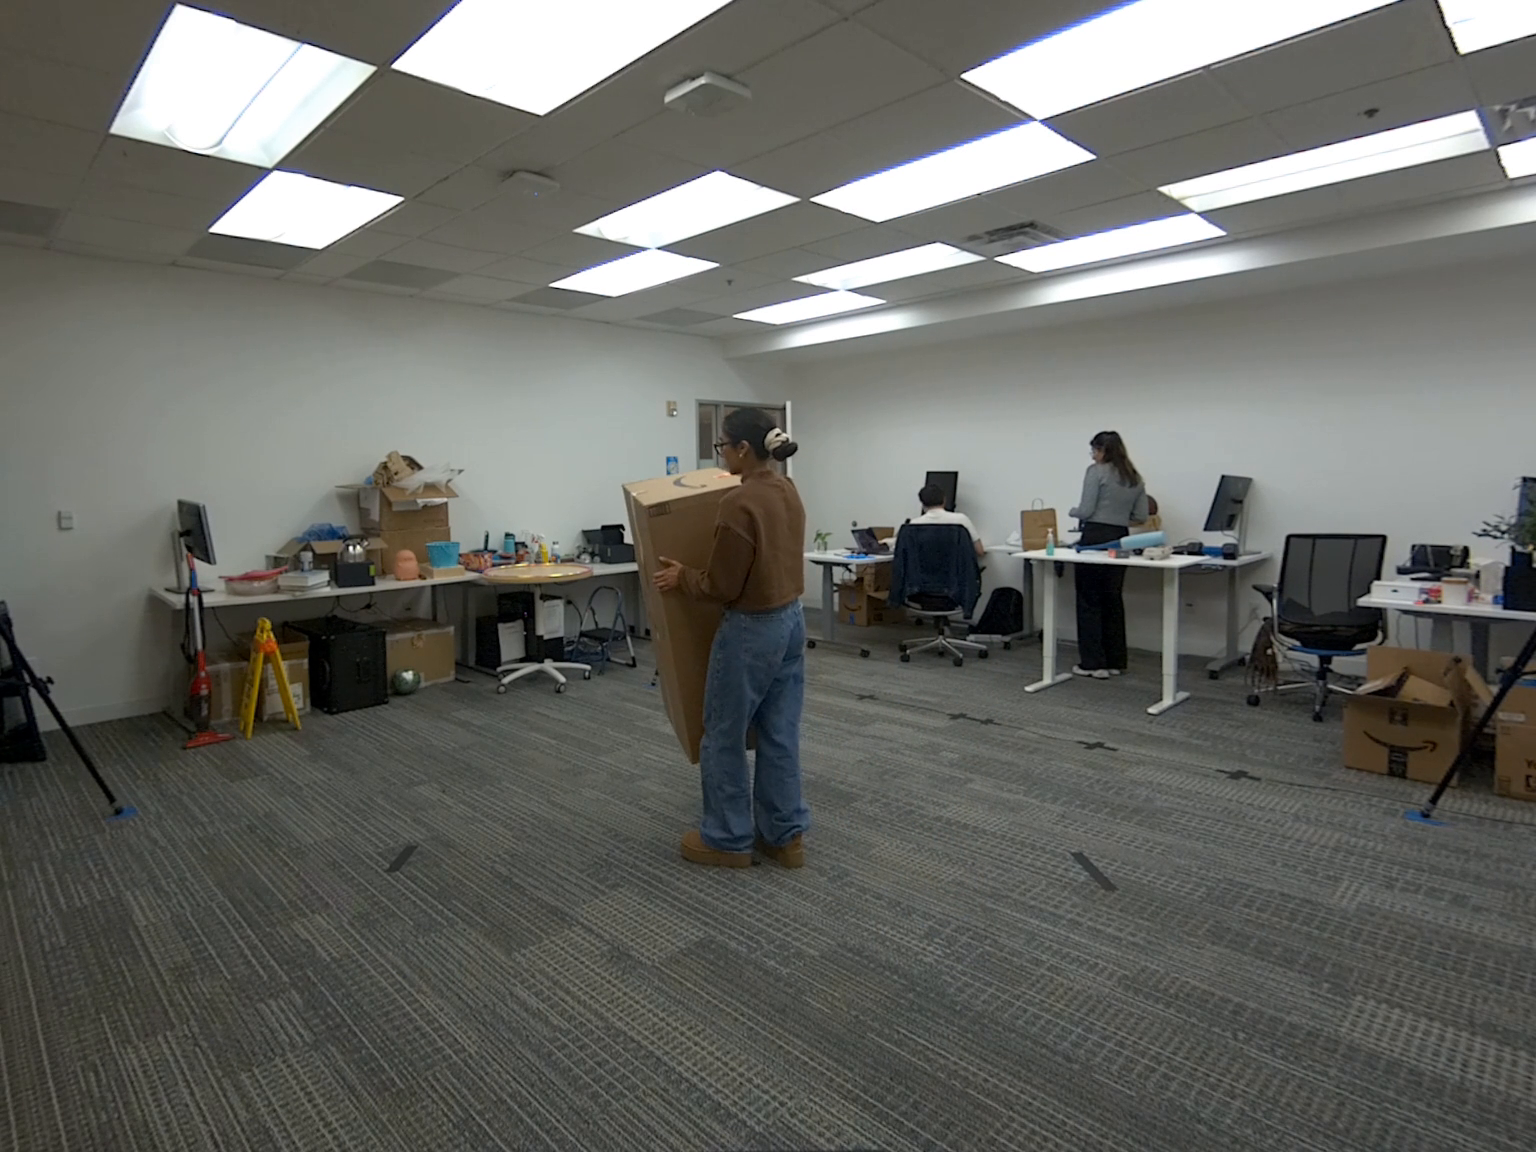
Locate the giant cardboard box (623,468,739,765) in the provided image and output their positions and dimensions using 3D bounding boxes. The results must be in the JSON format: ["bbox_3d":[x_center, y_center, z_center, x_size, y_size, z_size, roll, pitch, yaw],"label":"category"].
[{"bbox_3d":[-0.251,0.130,3.453,0.422,1.012,0.591,-12,14,-14],"label":"giant cardboard box"}]
